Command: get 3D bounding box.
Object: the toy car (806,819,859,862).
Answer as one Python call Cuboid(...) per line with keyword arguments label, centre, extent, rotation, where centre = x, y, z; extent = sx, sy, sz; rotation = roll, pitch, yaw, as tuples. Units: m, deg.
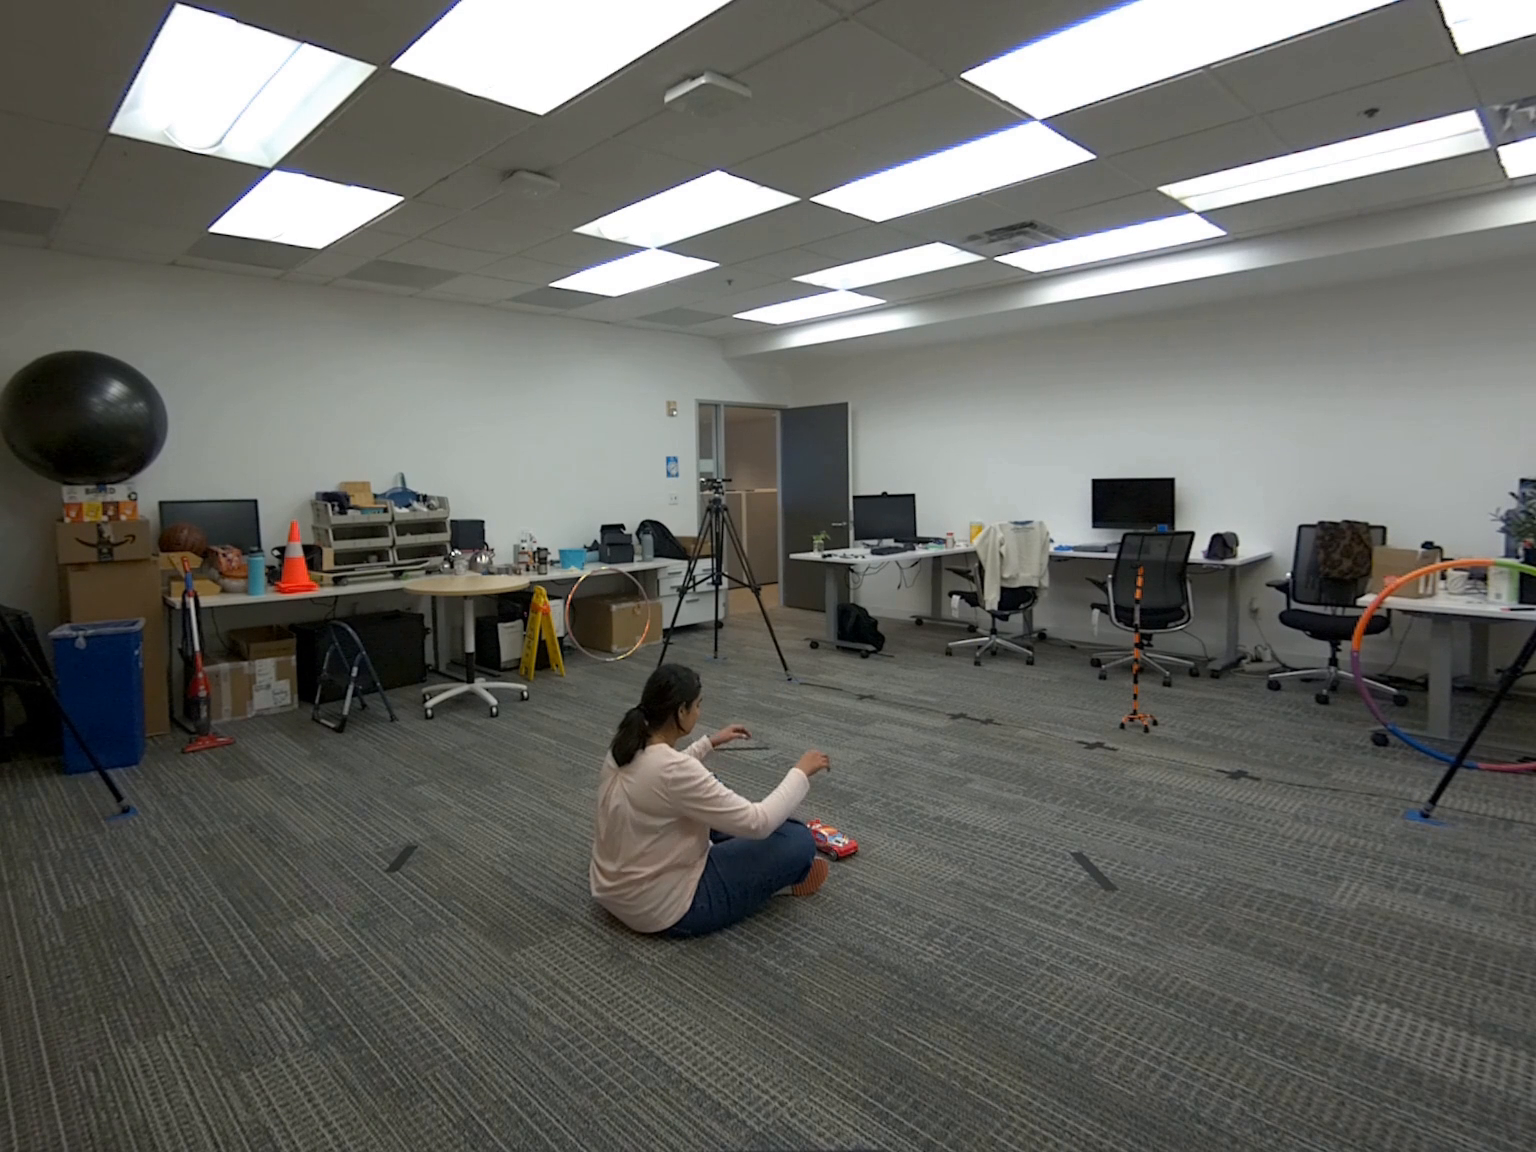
Cuboid(label="toy car", centre=(0.219, 0.985, 3.223), extent=(0.127, 0.082, 0.264), rotation=(-6, 18, -36))
